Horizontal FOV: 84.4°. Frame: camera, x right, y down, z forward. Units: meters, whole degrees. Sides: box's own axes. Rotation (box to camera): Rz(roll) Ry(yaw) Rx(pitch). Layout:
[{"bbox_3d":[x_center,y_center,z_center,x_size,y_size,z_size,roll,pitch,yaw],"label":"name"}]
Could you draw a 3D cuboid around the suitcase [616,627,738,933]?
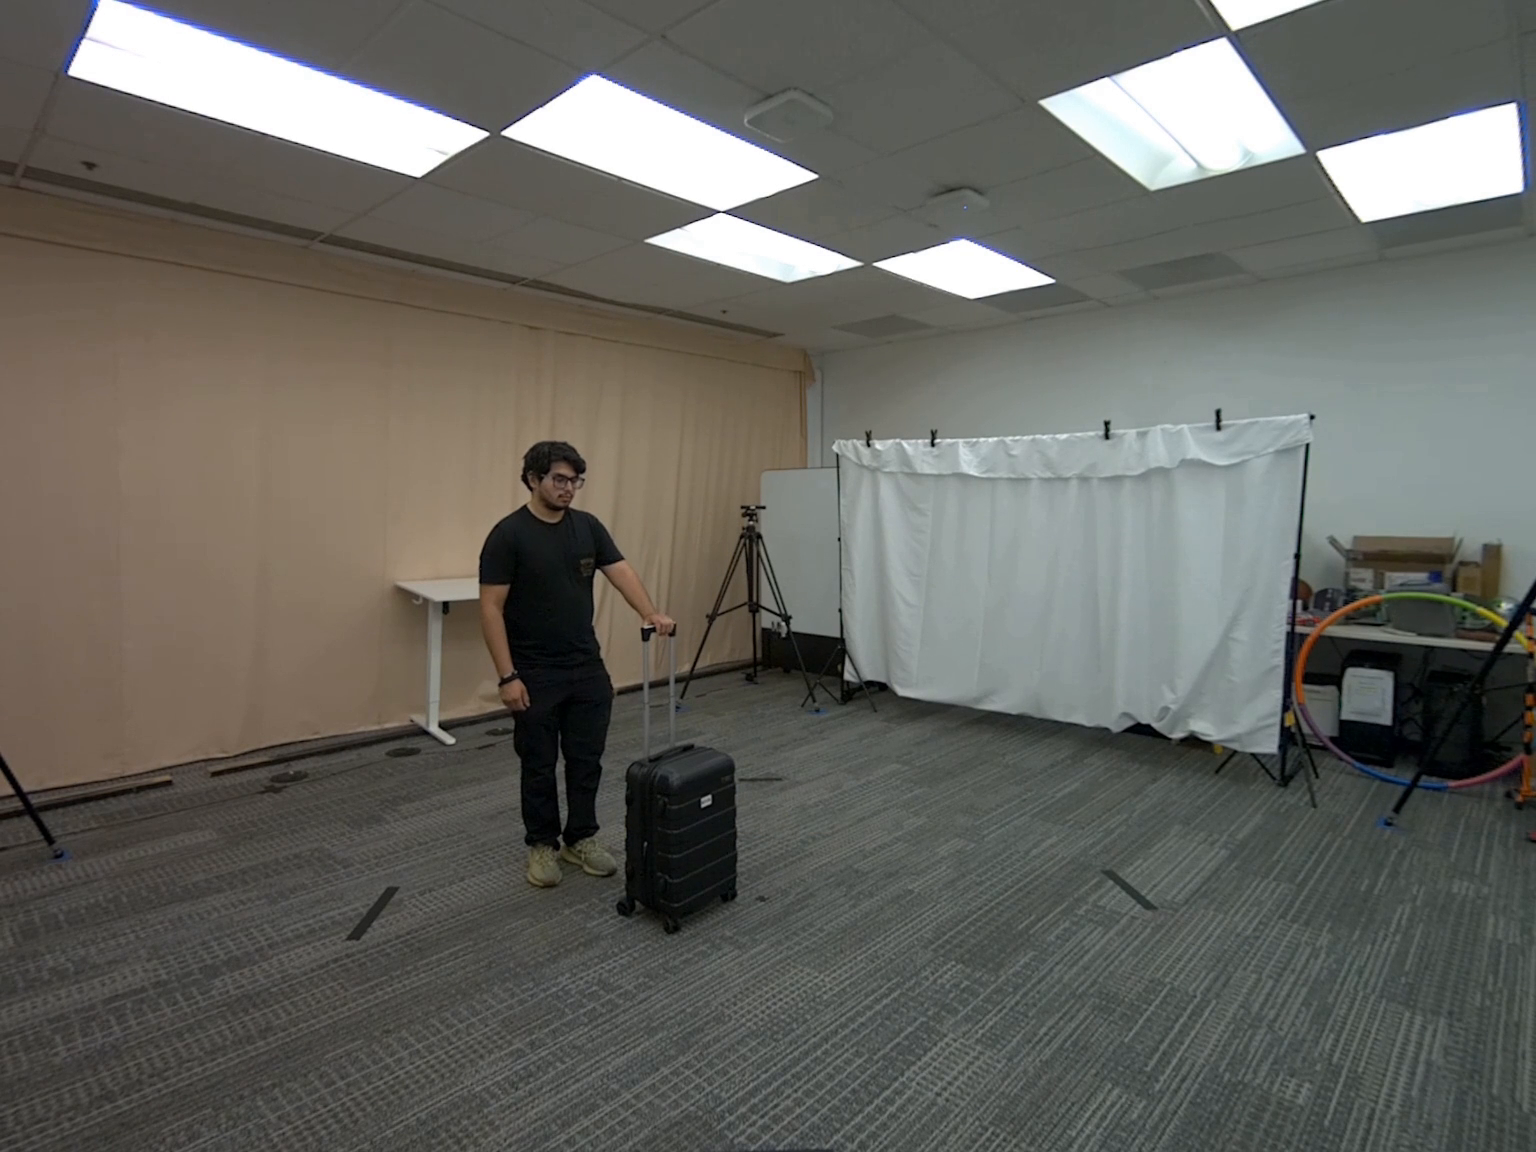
[{"bbox_3d":[-0.288,0.676,2.883,0.266,0.975,0.372,7,7,39],"label":"suitcase"}]
